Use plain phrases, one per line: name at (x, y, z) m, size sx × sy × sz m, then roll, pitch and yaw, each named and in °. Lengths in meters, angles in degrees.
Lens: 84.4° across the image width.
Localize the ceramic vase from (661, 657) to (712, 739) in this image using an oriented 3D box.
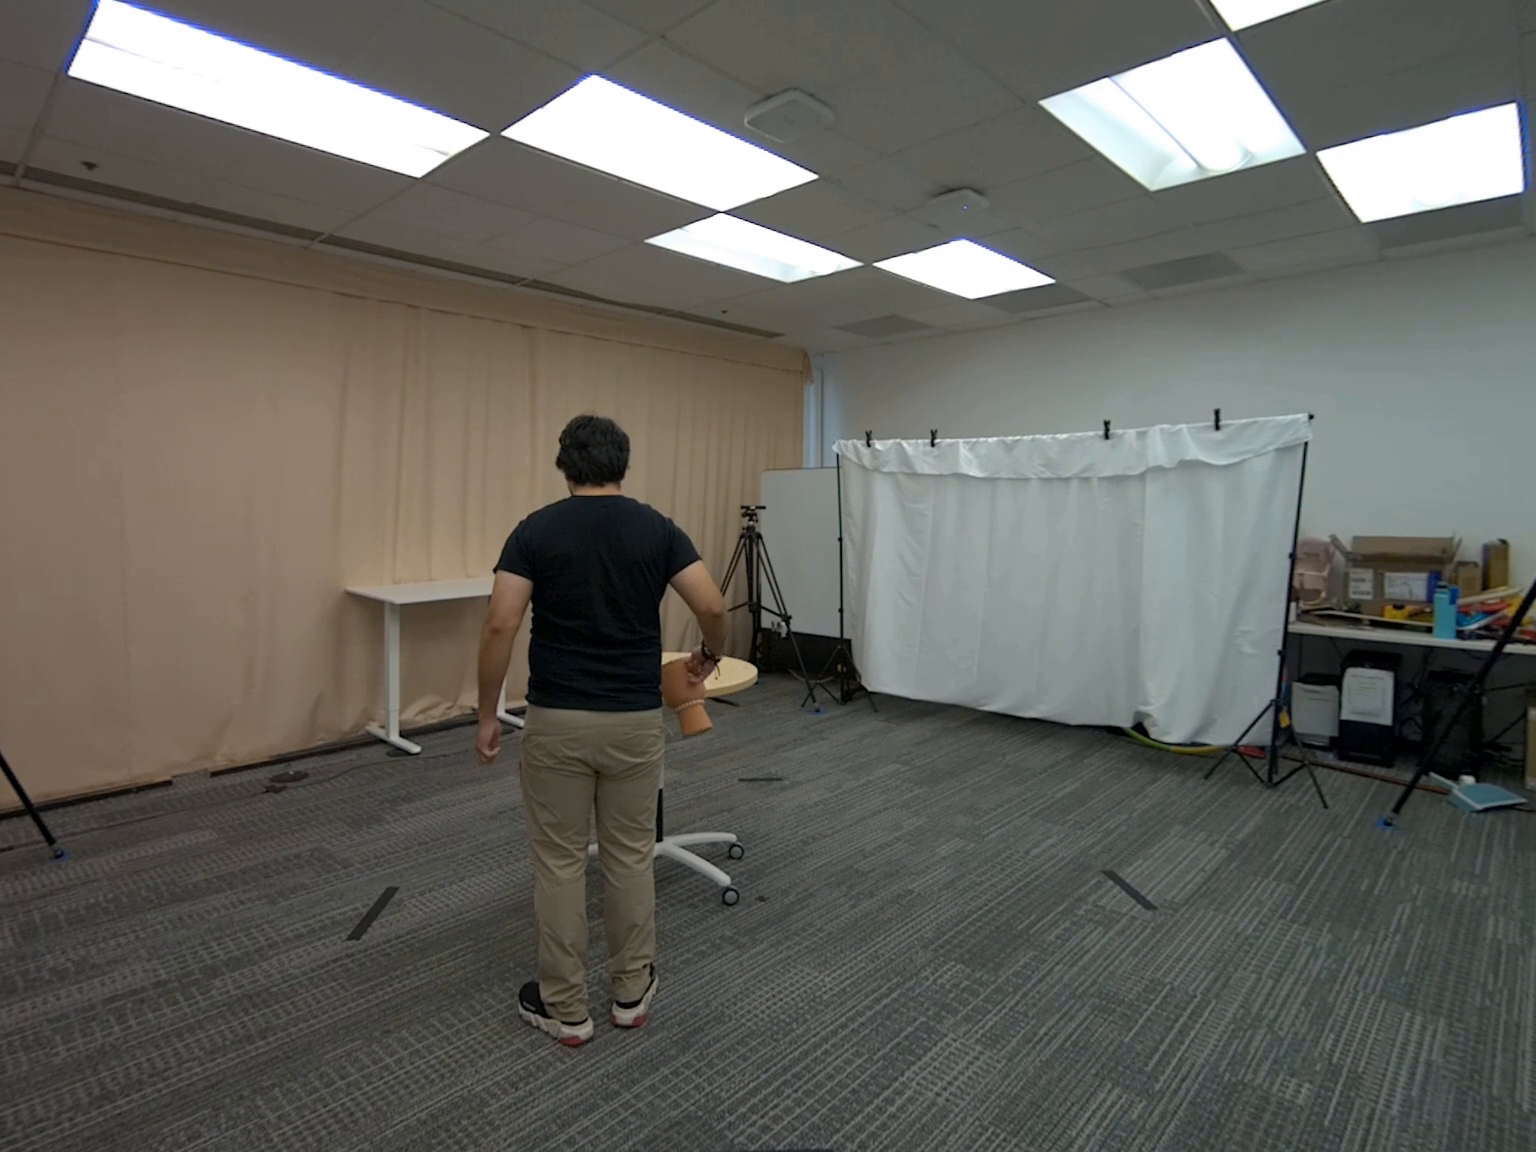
ceramic vase at (-0.249, 0.363, 2.543) m, size 0.135 × 0.223 × 0.156 m, roll -19°, pitch -17°, yaw 3°
